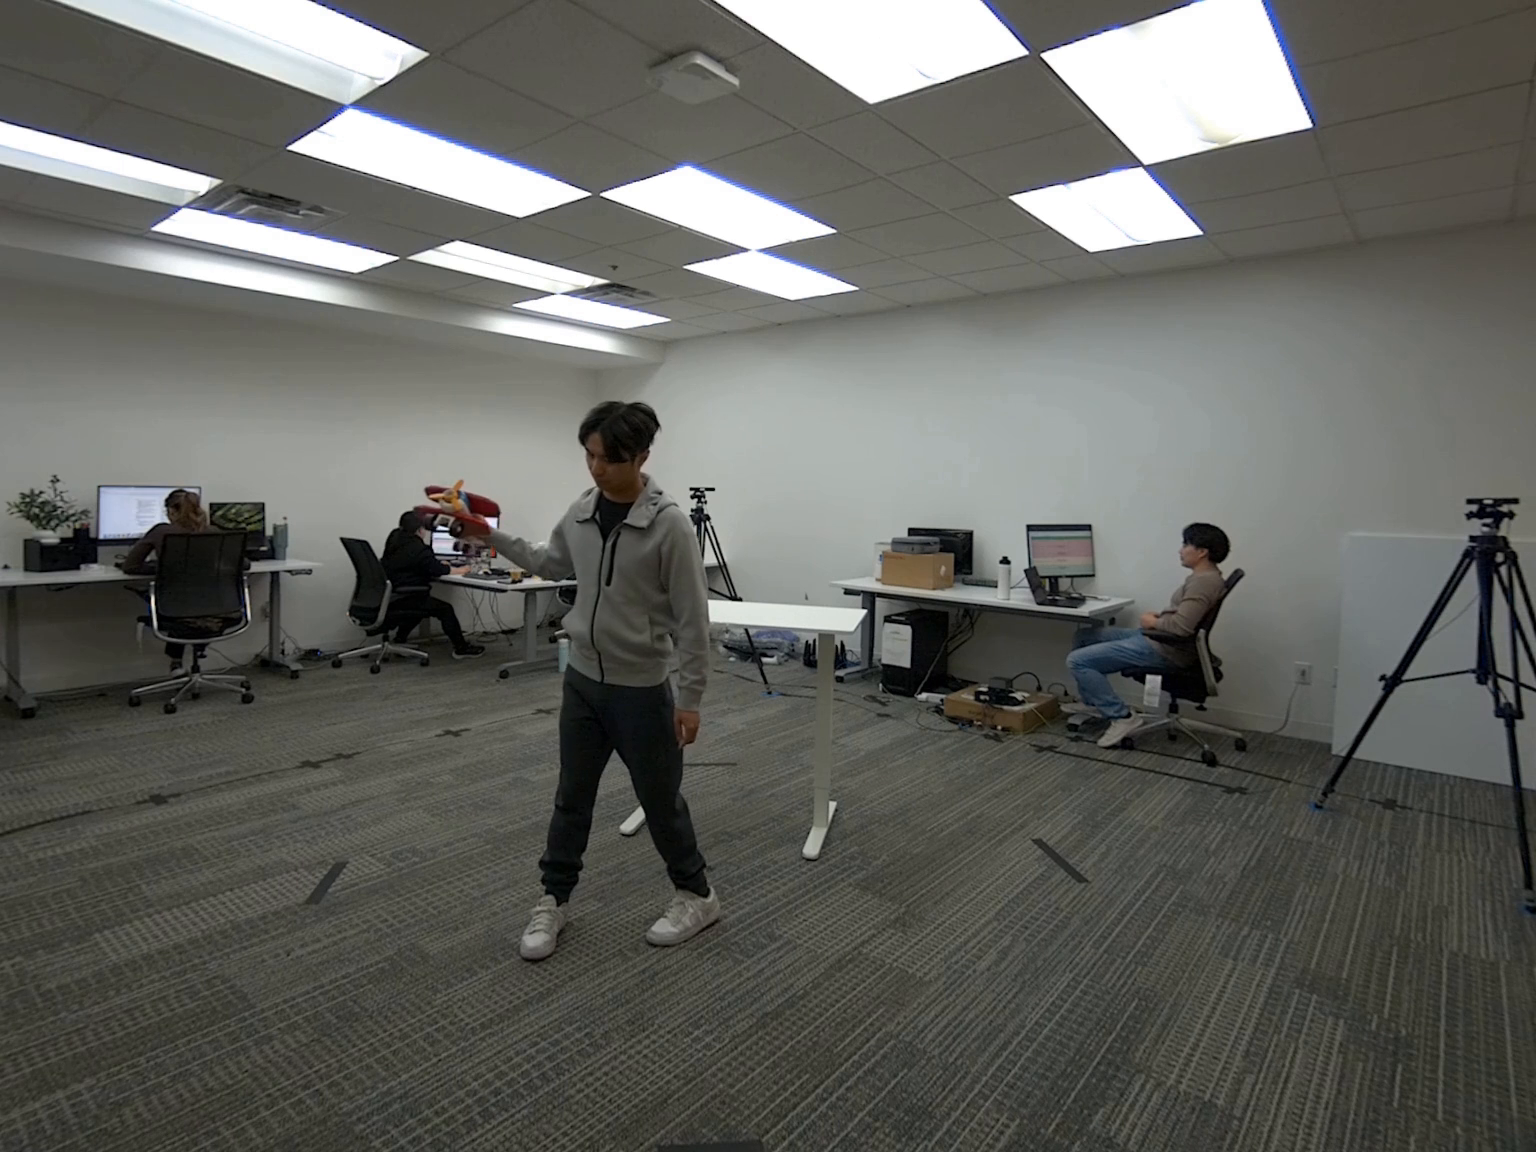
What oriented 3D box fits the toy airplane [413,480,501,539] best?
[{"bbox_3d":[-1.014,-0.180,2.700,0.246,0.158,0.262,22,-19,-17],"label":"toy airplane"}]
